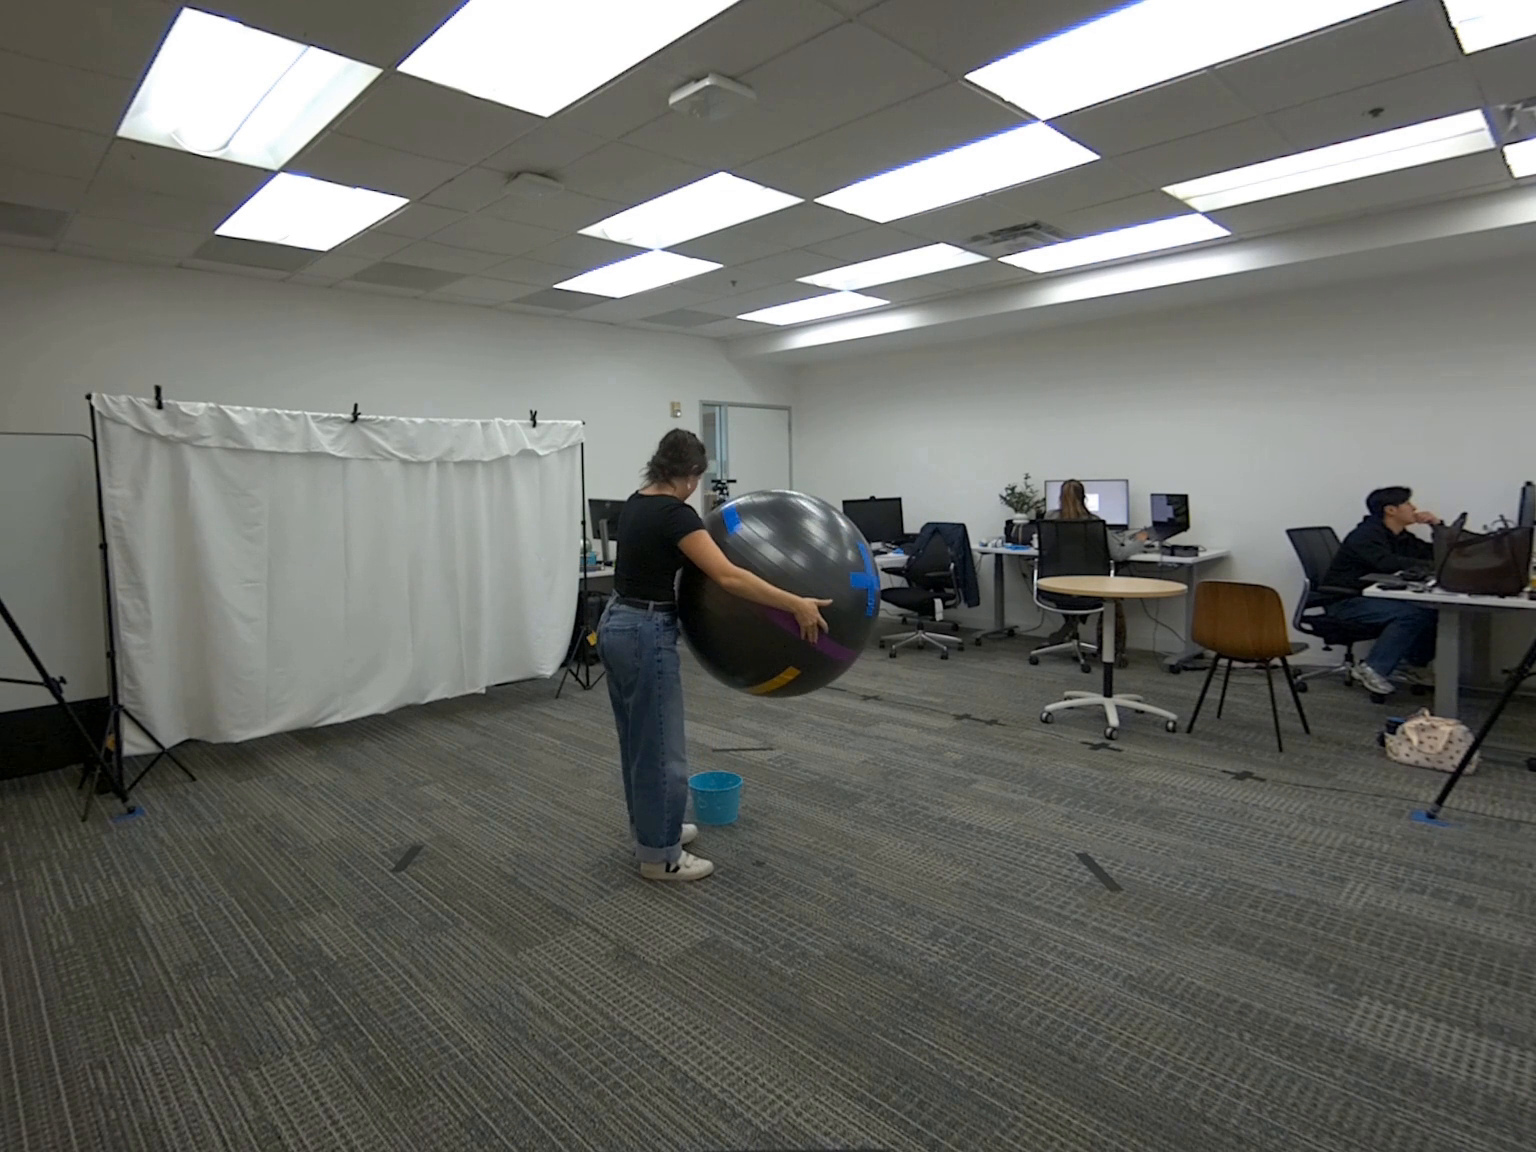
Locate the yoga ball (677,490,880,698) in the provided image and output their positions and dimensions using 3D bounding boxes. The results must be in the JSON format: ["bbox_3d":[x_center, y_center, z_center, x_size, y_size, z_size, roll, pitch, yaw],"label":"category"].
[{"bbox_3d":[0.033,0.064,3.135,0.757,0.755,0.762,-1,5,-2],"label":"yoga ball"}]
